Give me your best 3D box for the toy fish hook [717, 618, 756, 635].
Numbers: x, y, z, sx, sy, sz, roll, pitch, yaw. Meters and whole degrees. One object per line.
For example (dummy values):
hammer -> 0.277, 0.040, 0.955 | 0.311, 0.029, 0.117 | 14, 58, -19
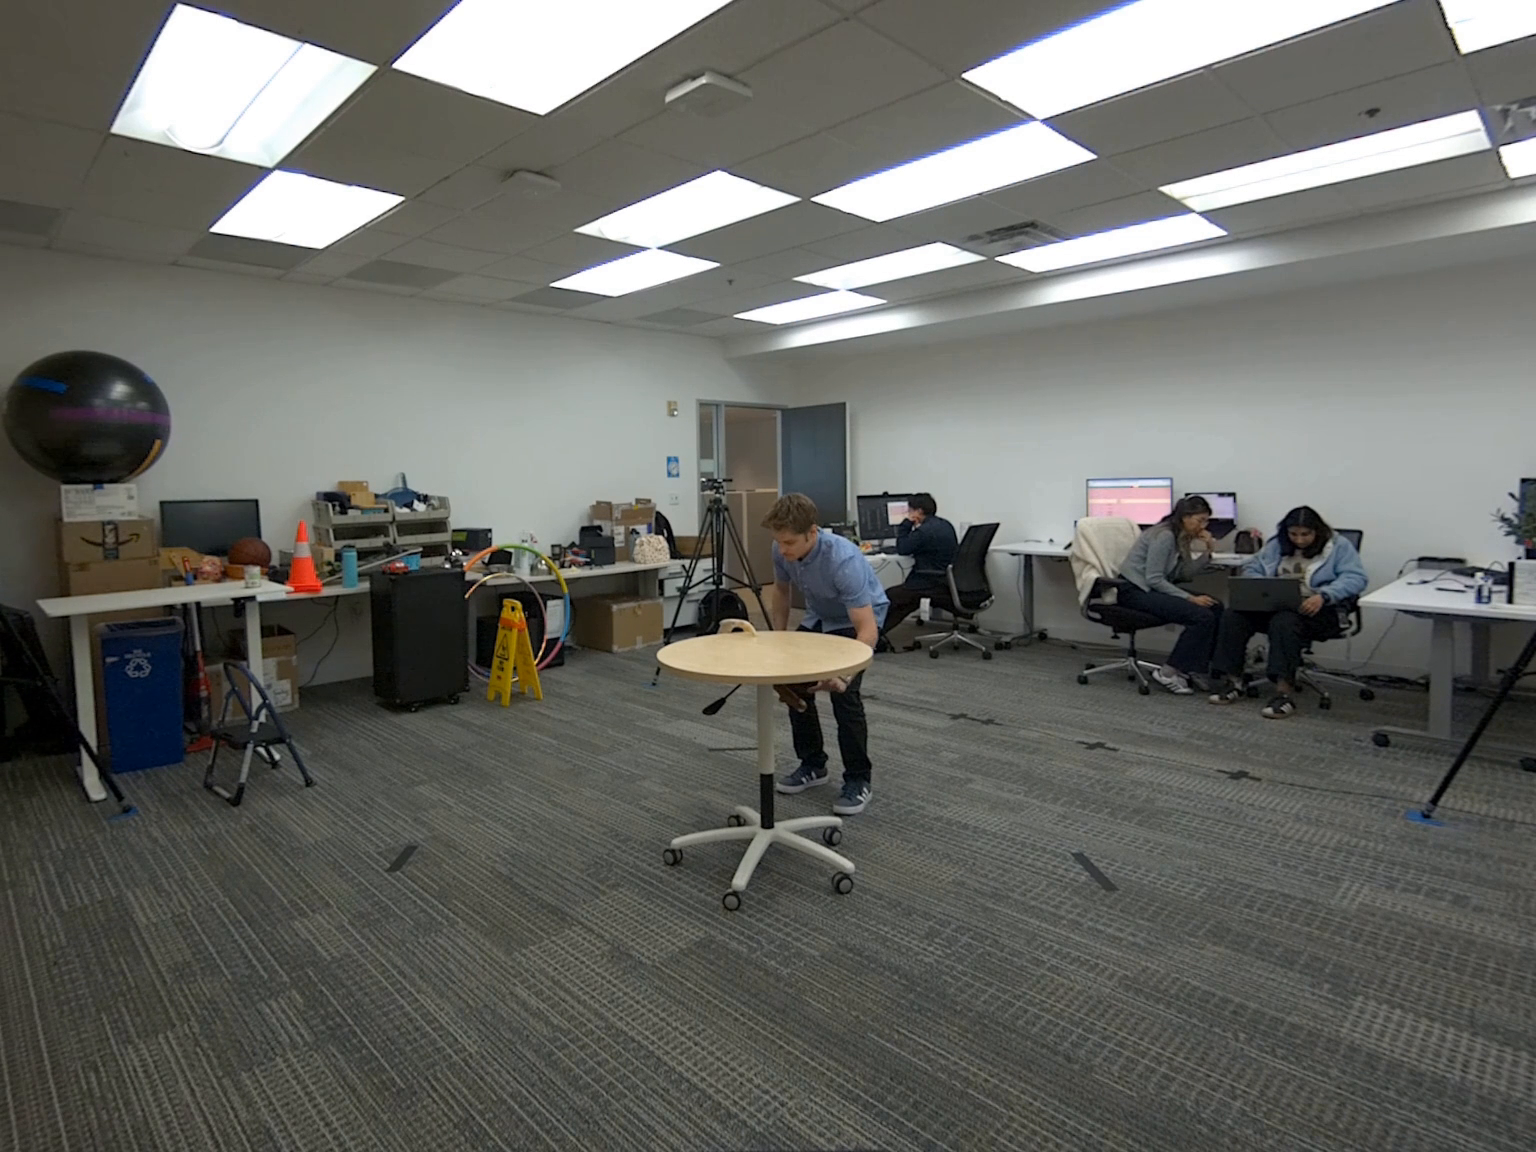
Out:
toy fish hook -> -0.023, 0.336, 3.308 | 0.047, 0.221, 0.526 | -14, 34, -40
